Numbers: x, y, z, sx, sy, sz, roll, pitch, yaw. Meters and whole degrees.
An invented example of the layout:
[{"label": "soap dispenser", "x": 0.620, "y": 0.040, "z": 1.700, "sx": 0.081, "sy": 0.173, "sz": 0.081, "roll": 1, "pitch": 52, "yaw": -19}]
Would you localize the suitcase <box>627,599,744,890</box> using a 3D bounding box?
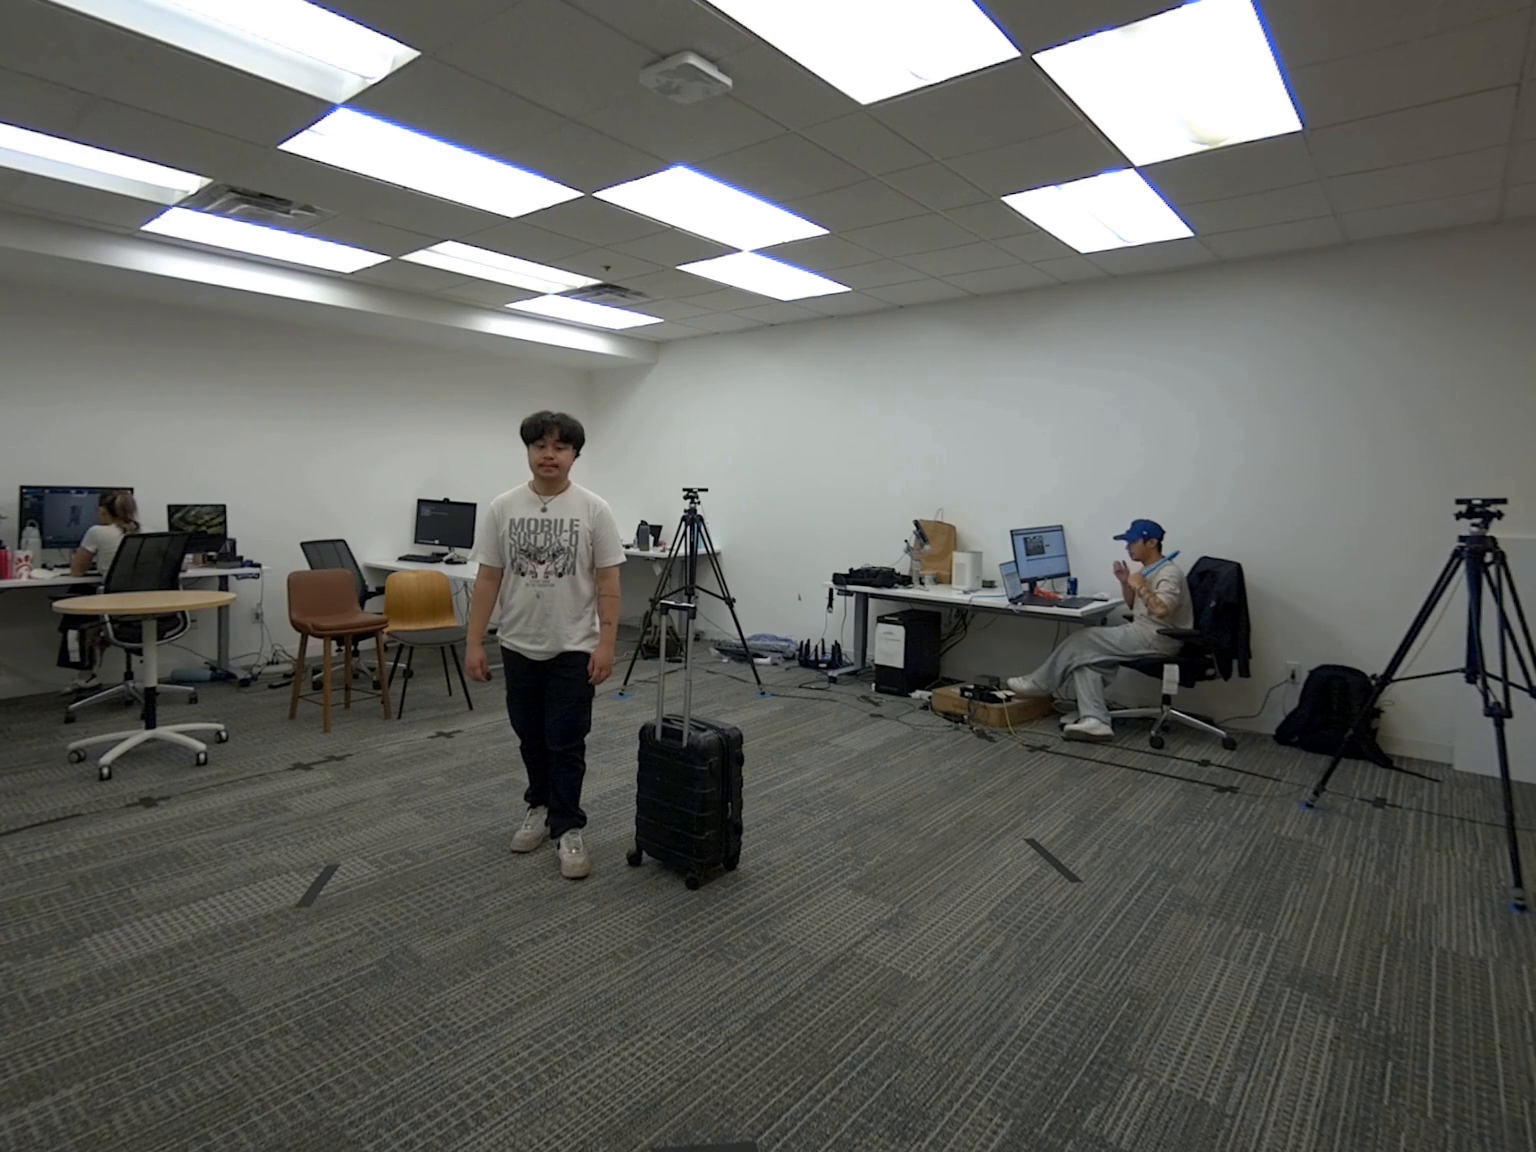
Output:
[{"label": "suitcase", "x": -0.288, "y": 0.590, "z": 3.116, "sx": 0.397, "sy": 0.978, "sz": 0.249, "roll": 4, "pitch": 0, "yaw": 39}]
